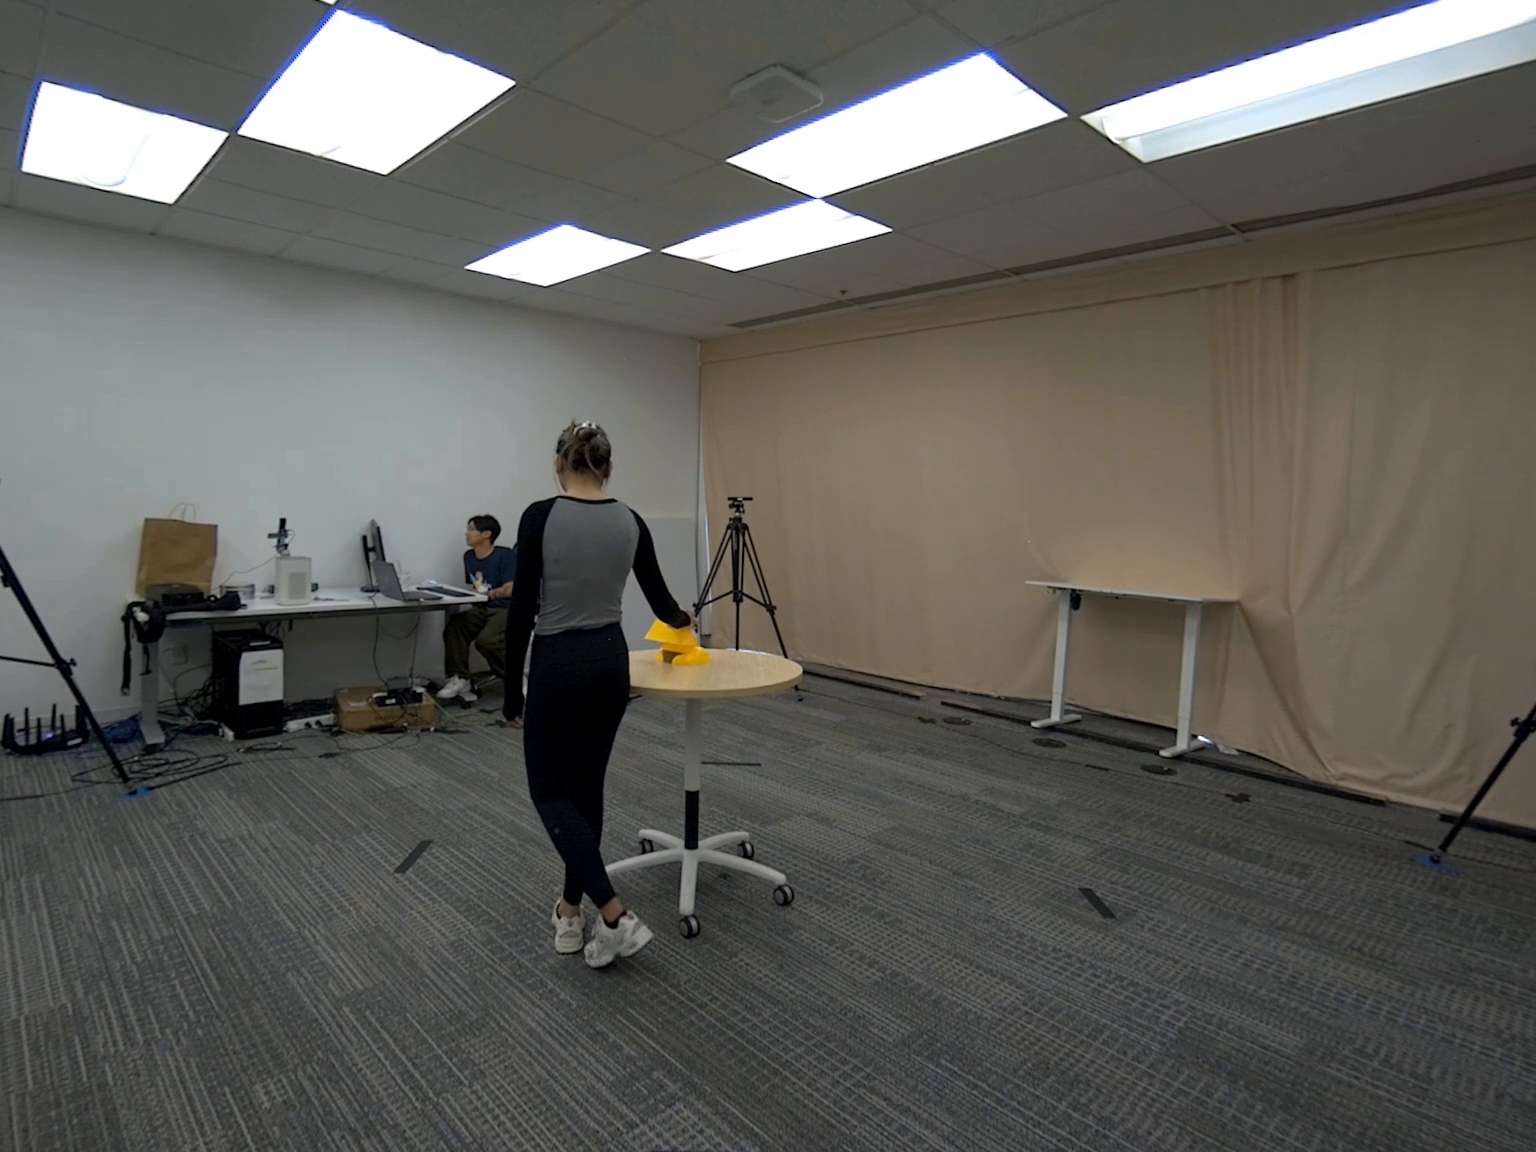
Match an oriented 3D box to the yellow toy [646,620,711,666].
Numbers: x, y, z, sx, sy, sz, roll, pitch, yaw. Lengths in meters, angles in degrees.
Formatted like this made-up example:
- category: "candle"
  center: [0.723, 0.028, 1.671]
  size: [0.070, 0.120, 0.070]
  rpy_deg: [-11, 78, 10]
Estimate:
- category: "yellow toy"
  center: [-0.326, 0.200, 3.092]
  size: [0.210, 0.230, 0.189]
  rpy_deg: [4, 4, 40]
